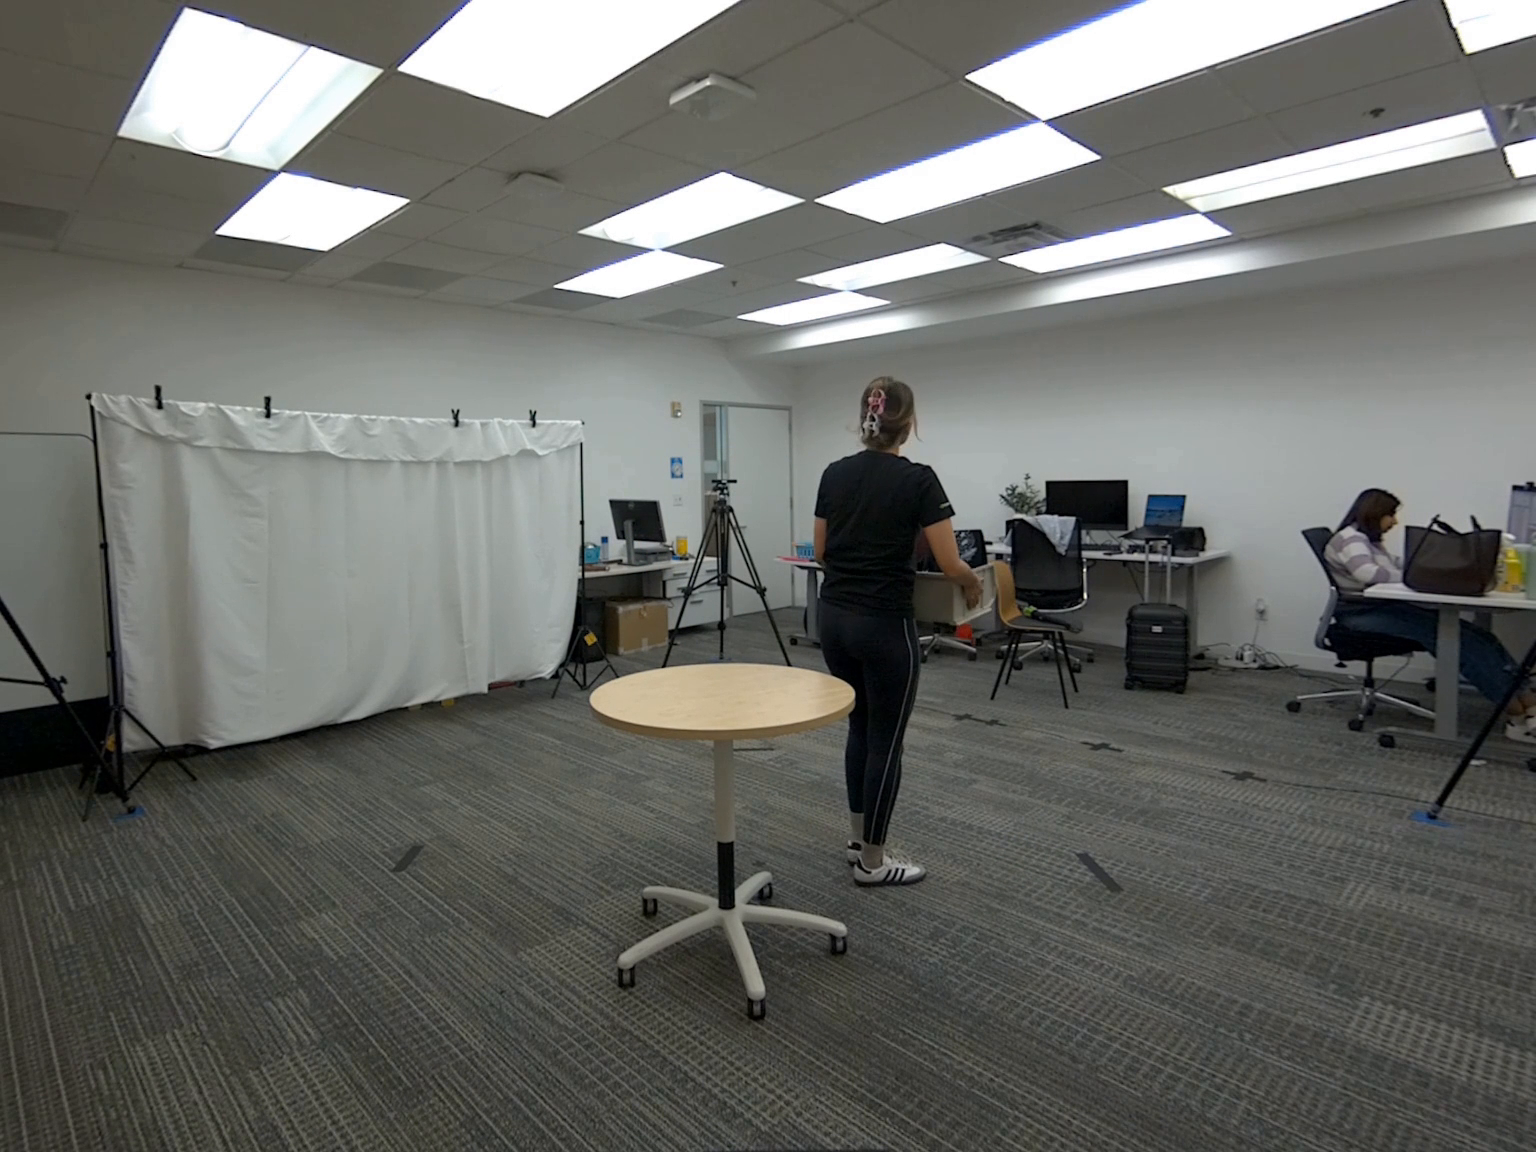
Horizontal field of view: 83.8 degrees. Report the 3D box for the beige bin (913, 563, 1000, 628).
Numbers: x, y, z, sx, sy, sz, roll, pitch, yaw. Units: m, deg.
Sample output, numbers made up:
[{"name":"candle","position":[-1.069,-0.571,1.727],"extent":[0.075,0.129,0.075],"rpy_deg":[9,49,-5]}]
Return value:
[{"name":"beige bin","position":[0.588,0.046,3.204],"extent":[0.435,0.187,0.369],"rpy_deg":[4,12,35]}]
